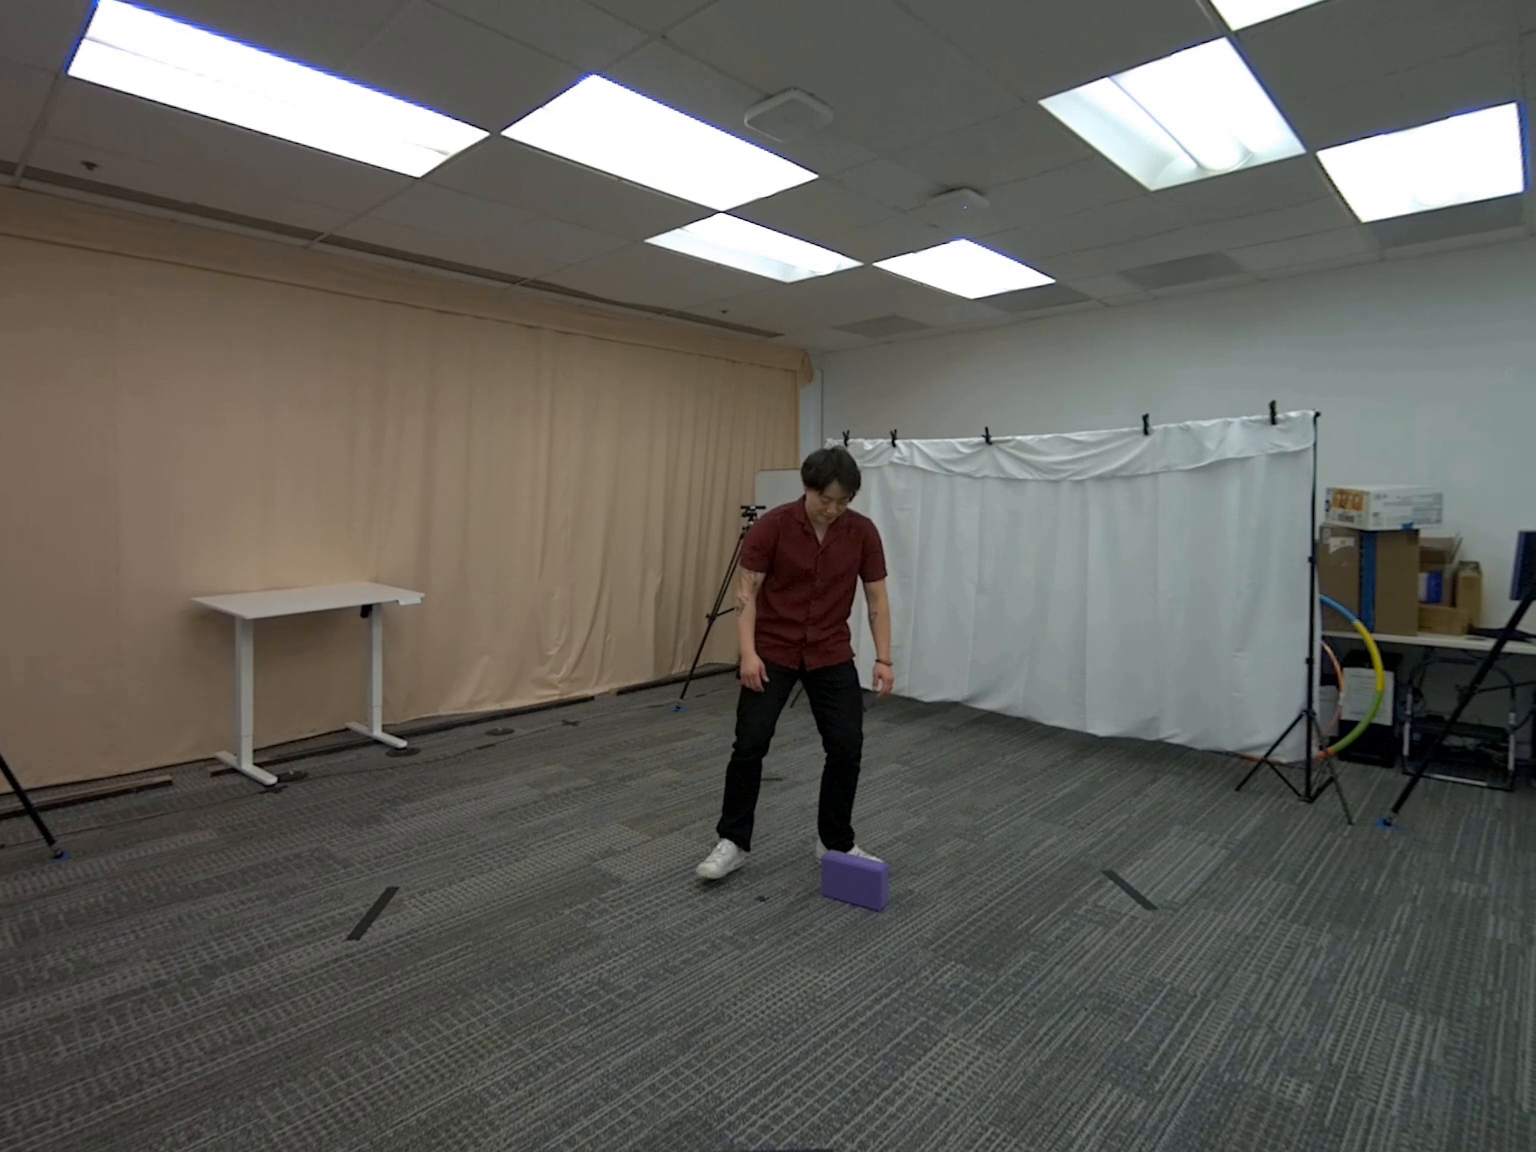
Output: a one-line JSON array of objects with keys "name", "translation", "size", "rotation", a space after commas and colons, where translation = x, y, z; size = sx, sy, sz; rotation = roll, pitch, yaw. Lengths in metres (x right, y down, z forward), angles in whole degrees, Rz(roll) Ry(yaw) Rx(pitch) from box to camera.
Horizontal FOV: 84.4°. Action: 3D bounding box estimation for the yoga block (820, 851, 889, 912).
[{"name": "yoga block", "translation": [0.309, 1.067, 2.964], "size": [0.236, 0.148, 0.074], "rotation": [3, 5, 32]}]
